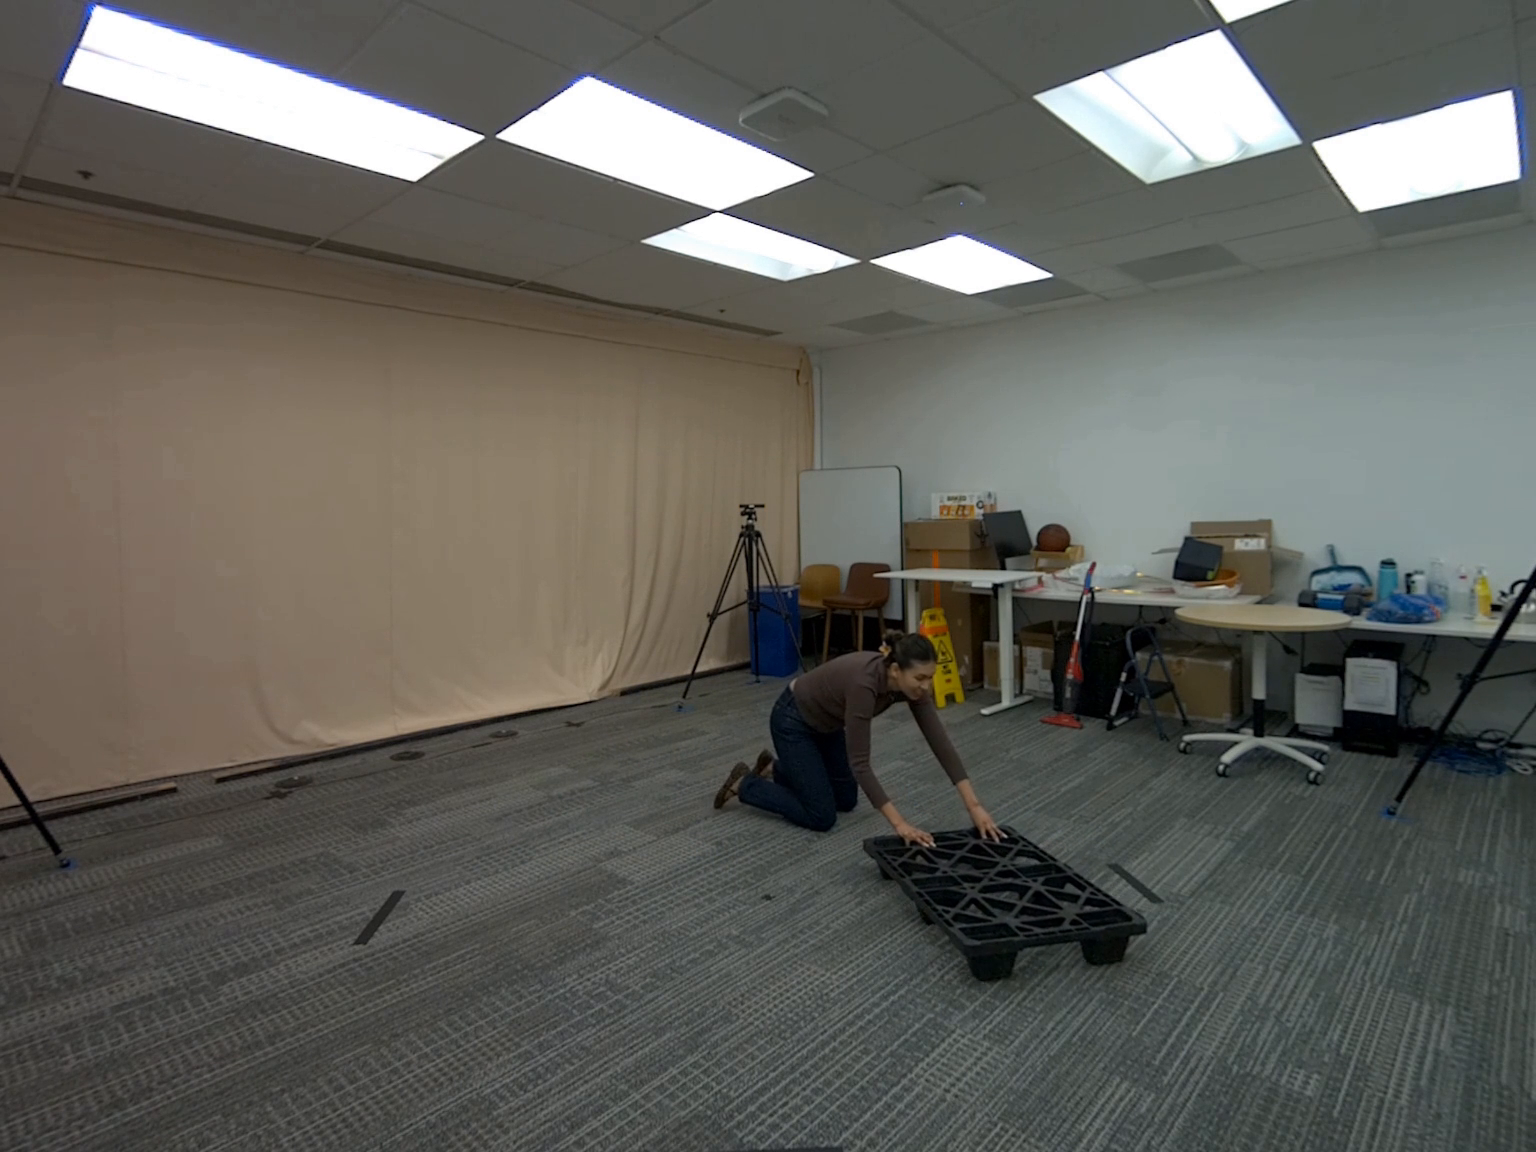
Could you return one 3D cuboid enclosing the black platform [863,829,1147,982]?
[{"bbox_3d":[0.751,1.068,2.834,0.597,0.143,0.819,-1,5,-14],"label":"black platform"}]
